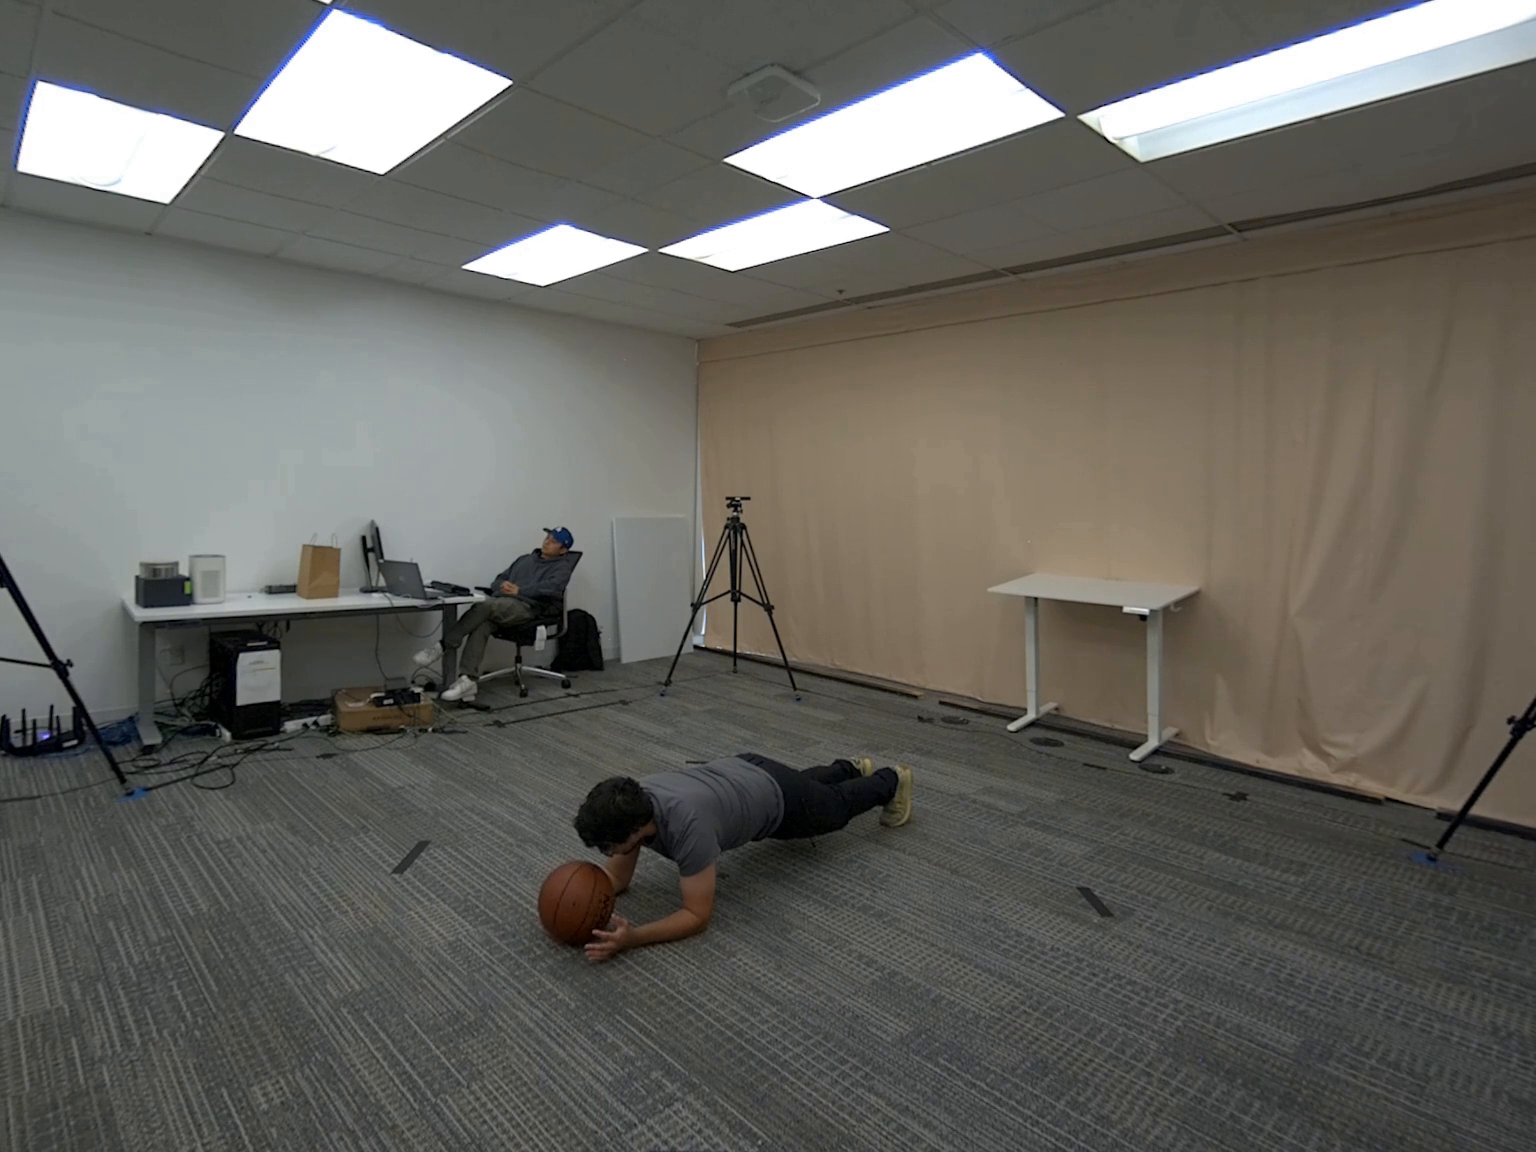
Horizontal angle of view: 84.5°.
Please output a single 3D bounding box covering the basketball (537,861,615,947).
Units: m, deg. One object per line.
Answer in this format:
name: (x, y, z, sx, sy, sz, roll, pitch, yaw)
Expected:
basketball: (-0.599, 1.023, 2.630, 0.236, 0.235, 0.237, 1, 4, -1)
